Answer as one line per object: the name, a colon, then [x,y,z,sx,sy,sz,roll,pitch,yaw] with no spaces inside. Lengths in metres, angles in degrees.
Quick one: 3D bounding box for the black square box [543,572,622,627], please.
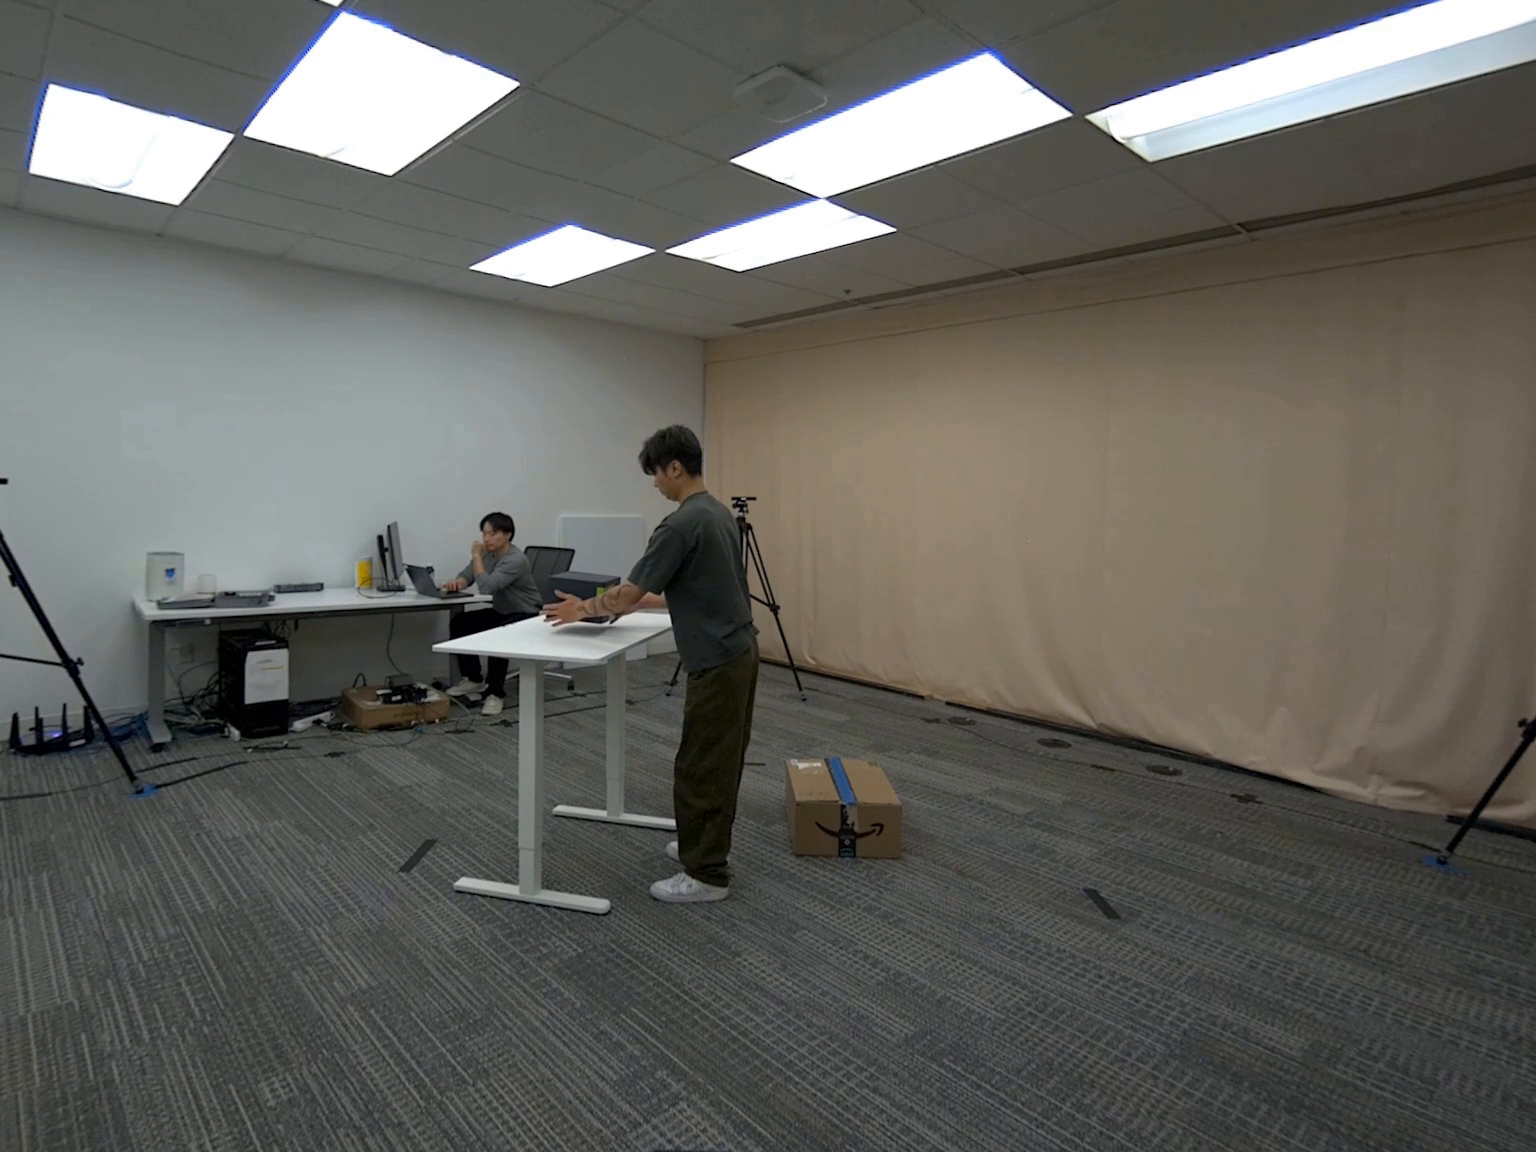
black square box: [-0.703,0.075,3.180,0.219,0.155,0.226,6,5,10]
